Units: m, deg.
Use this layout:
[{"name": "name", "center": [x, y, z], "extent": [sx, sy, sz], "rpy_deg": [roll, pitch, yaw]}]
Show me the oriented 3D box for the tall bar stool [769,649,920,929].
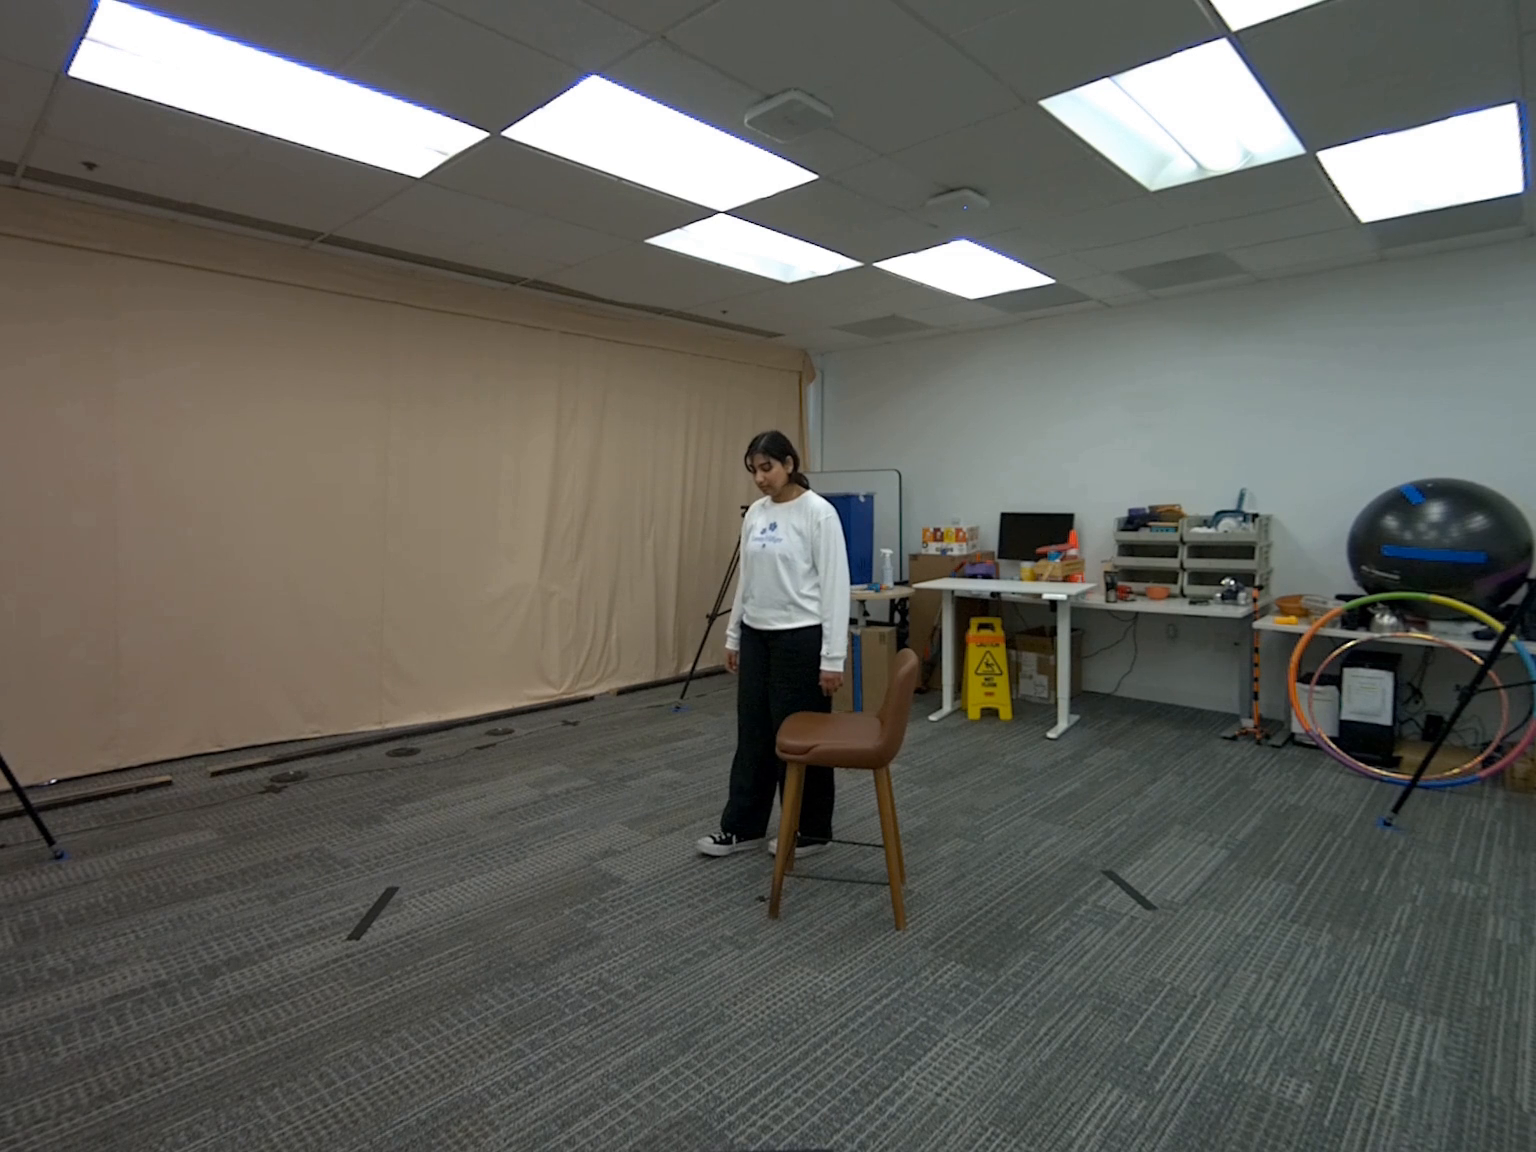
[{"name": "tall bar stool", "center": [0.274, 0.710, 2.962], "extent": [0.474, 0.888, 0.451], "rpy_deg": [3, 4, 12]}]
